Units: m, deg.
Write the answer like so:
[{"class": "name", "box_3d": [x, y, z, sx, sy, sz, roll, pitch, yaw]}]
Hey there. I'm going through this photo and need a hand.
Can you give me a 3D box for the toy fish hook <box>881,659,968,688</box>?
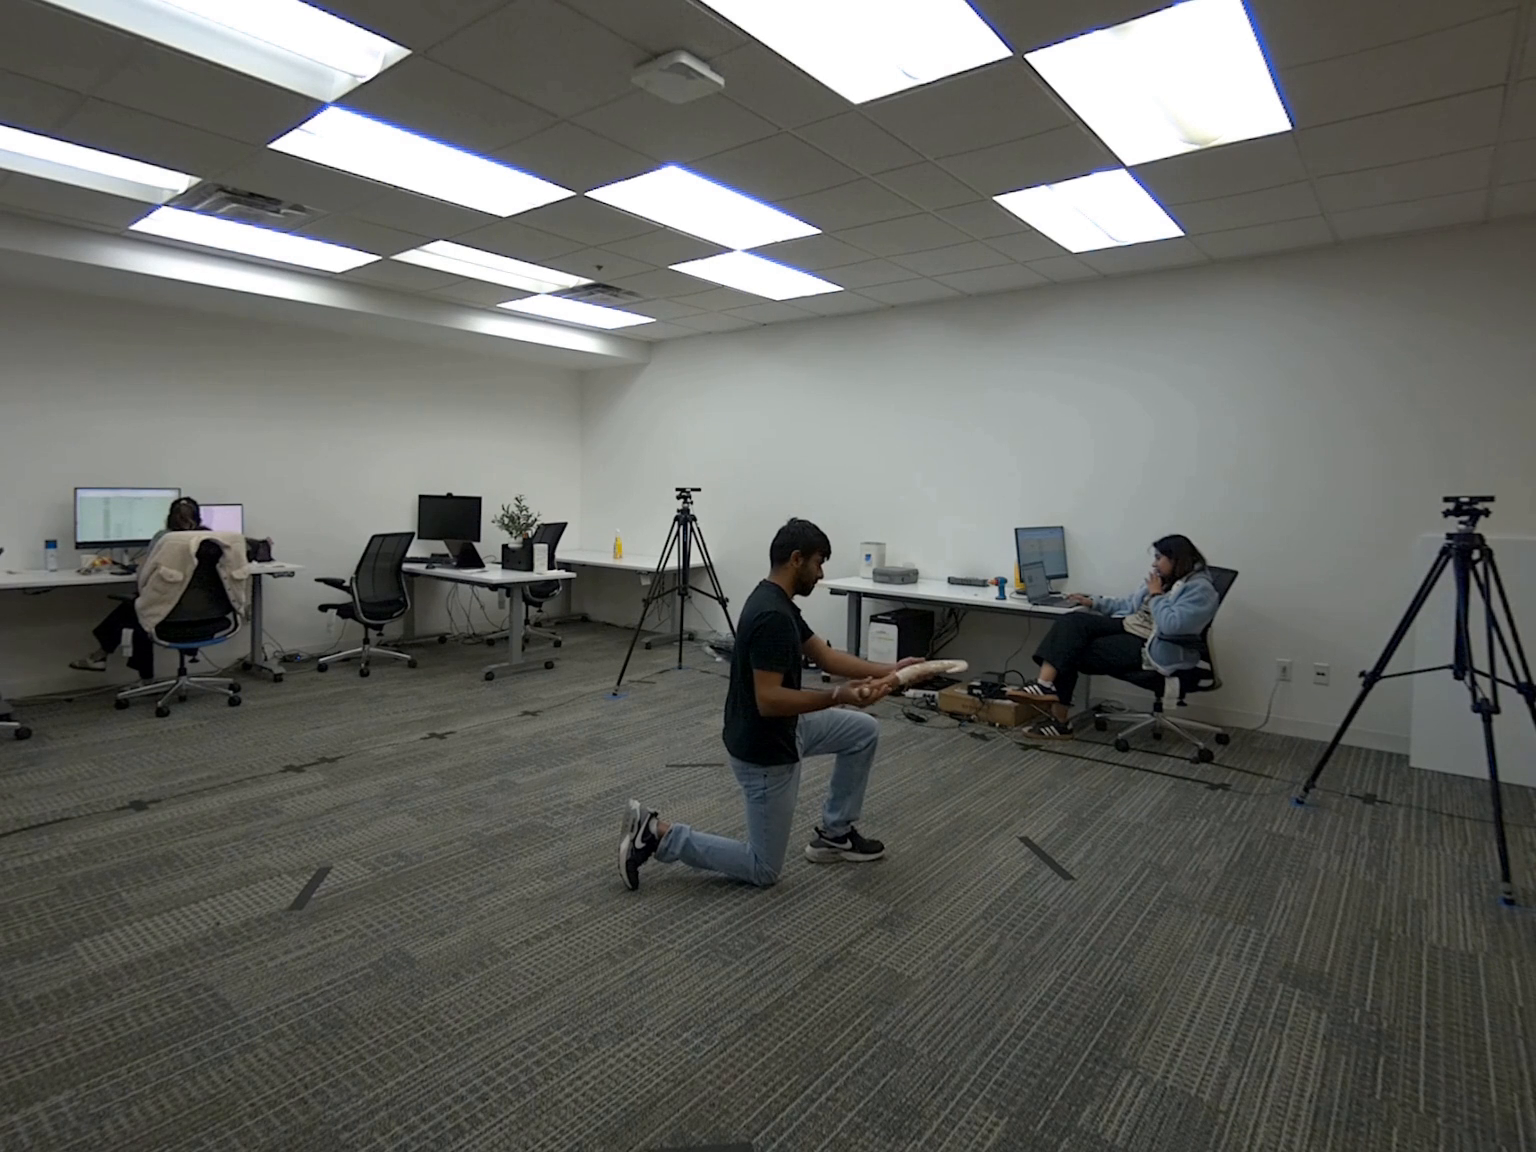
[{"class": "toy fish hook", "box_3d": [0.448, 0.317, 2.708, 0.229, 0.048, 0.492, -16, -6, 43]}]
